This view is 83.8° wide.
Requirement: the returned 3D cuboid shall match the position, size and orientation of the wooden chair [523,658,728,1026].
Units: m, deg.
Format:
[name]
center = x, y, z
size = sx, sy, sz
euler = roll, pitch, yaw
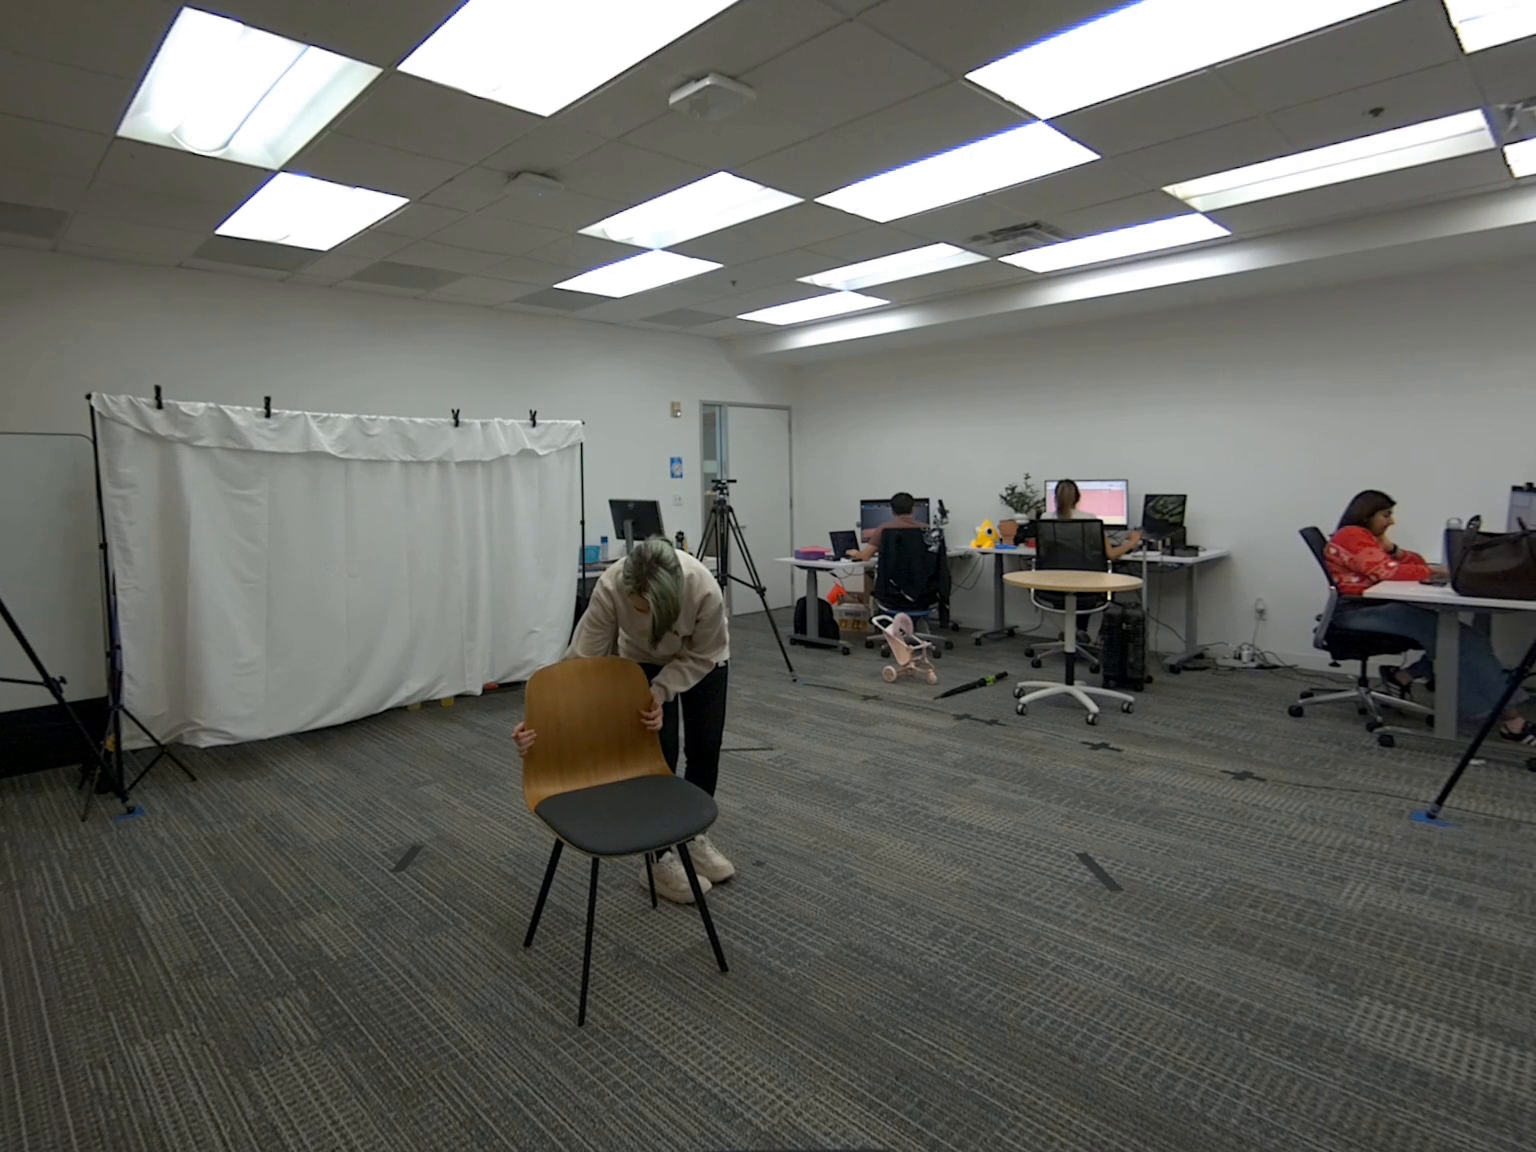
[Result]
[wooden chair]
center = -0.426, 0.703, 2.465
size = 0.466, 0.877, 0.537
euler = -4, 2, -34
